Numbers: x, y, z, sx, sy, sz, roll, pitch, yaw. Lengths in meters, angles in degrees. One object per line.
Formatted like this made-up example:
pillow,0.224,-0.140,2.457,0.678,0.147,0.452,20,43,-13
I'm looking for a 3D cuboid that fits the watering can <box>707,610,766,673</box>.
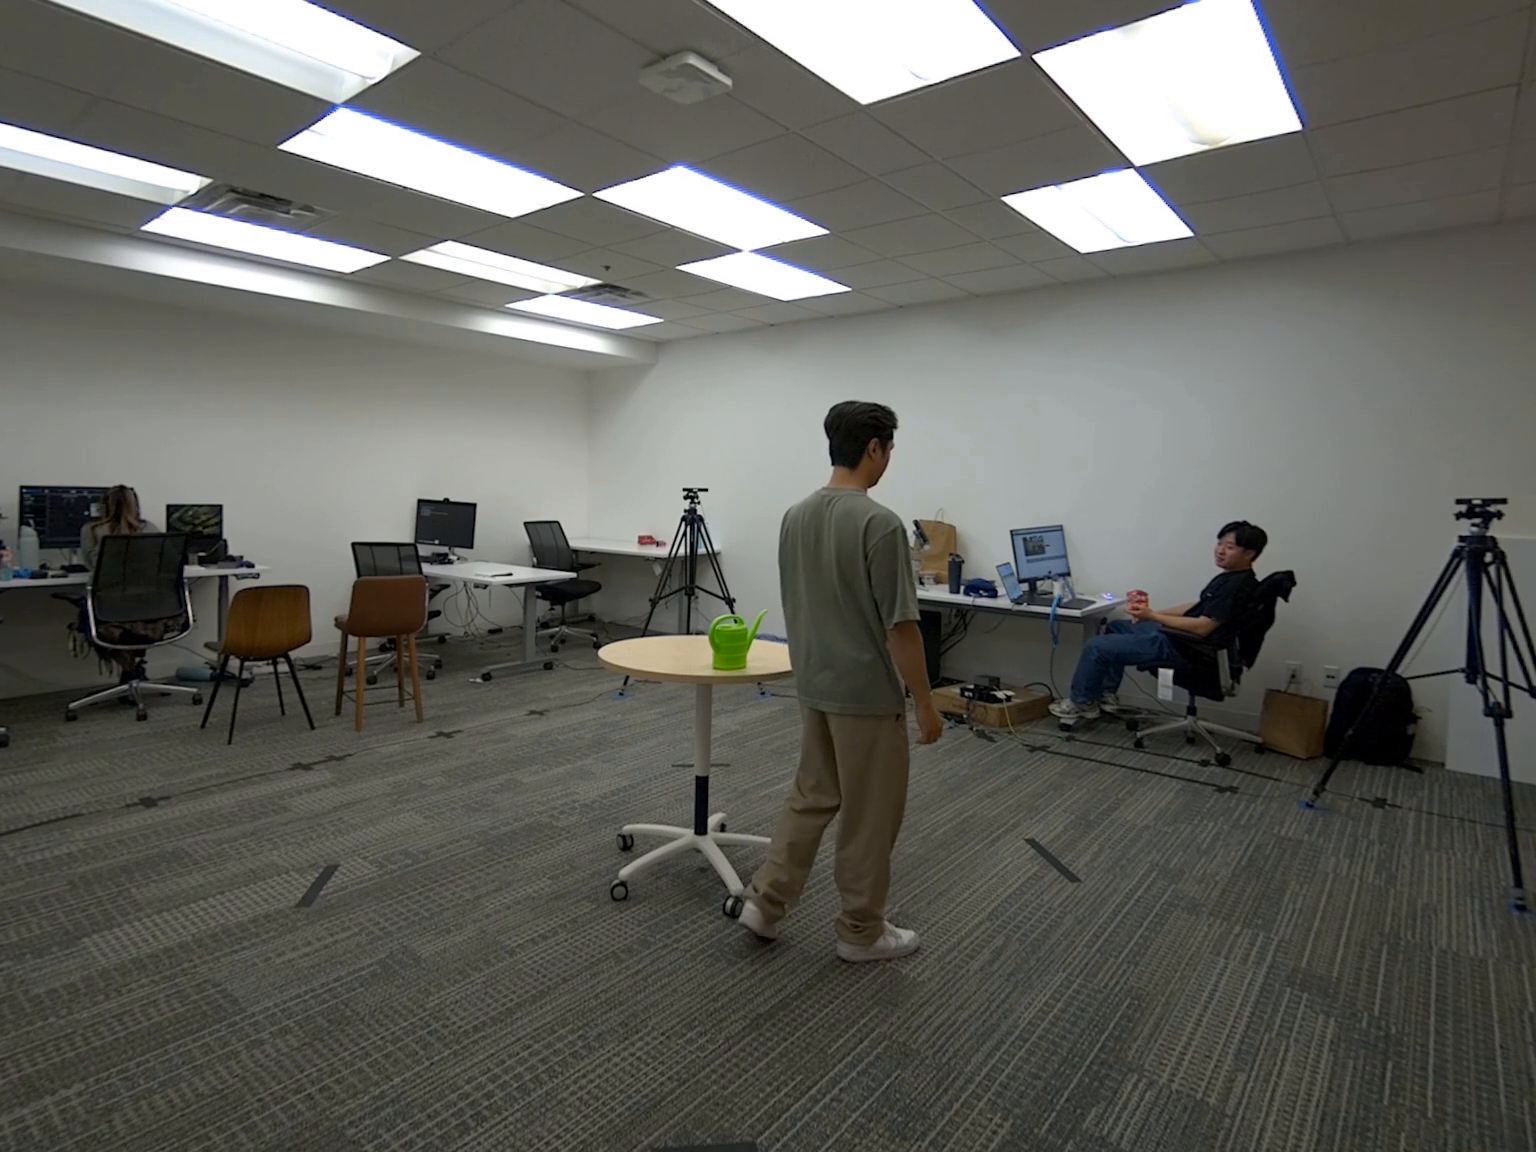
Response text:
watering can,-0.100,0.211,2.848,0.271,0.176,0.101,-2,4,-31
